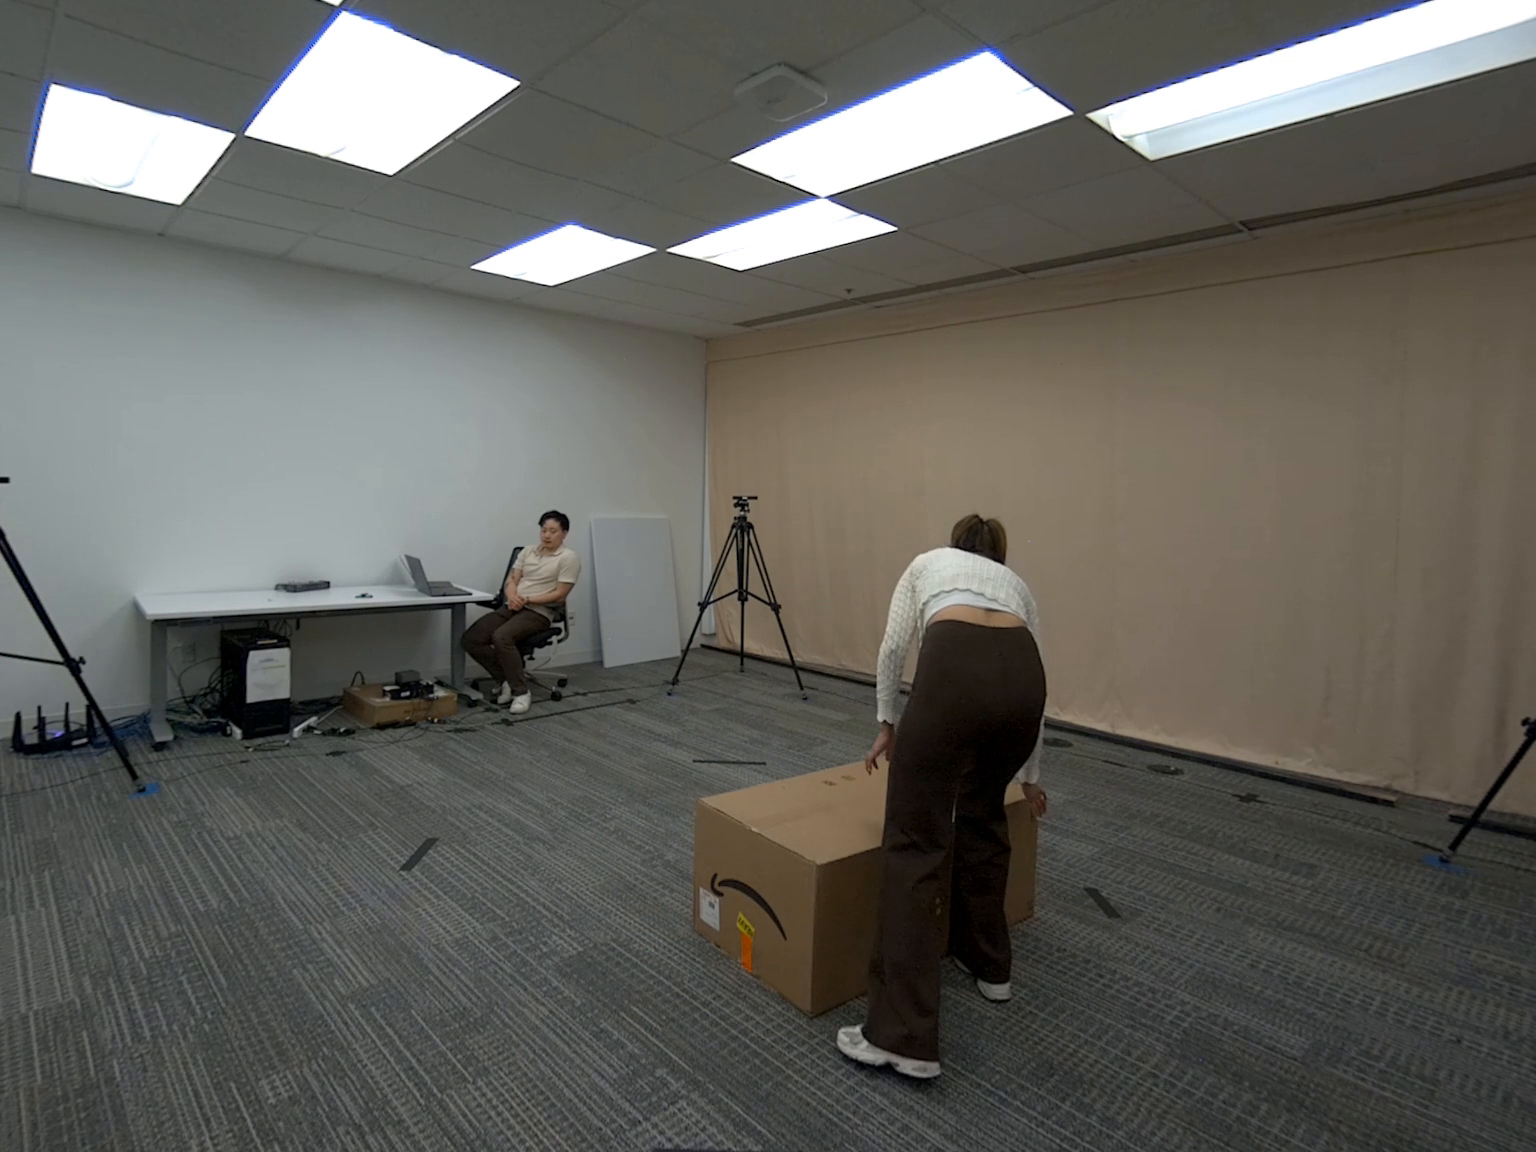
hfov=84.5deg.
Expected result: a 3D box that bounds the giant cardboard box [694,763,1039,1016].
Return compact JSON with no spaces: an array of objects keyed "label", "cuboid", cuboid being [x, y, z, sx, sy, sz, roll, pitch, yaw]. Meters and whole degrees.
[{"label":"giant cardboard box","cuboid":[0.329,0.933,2.776,1.003,0.425,0.592,-2,6,-37]}]
